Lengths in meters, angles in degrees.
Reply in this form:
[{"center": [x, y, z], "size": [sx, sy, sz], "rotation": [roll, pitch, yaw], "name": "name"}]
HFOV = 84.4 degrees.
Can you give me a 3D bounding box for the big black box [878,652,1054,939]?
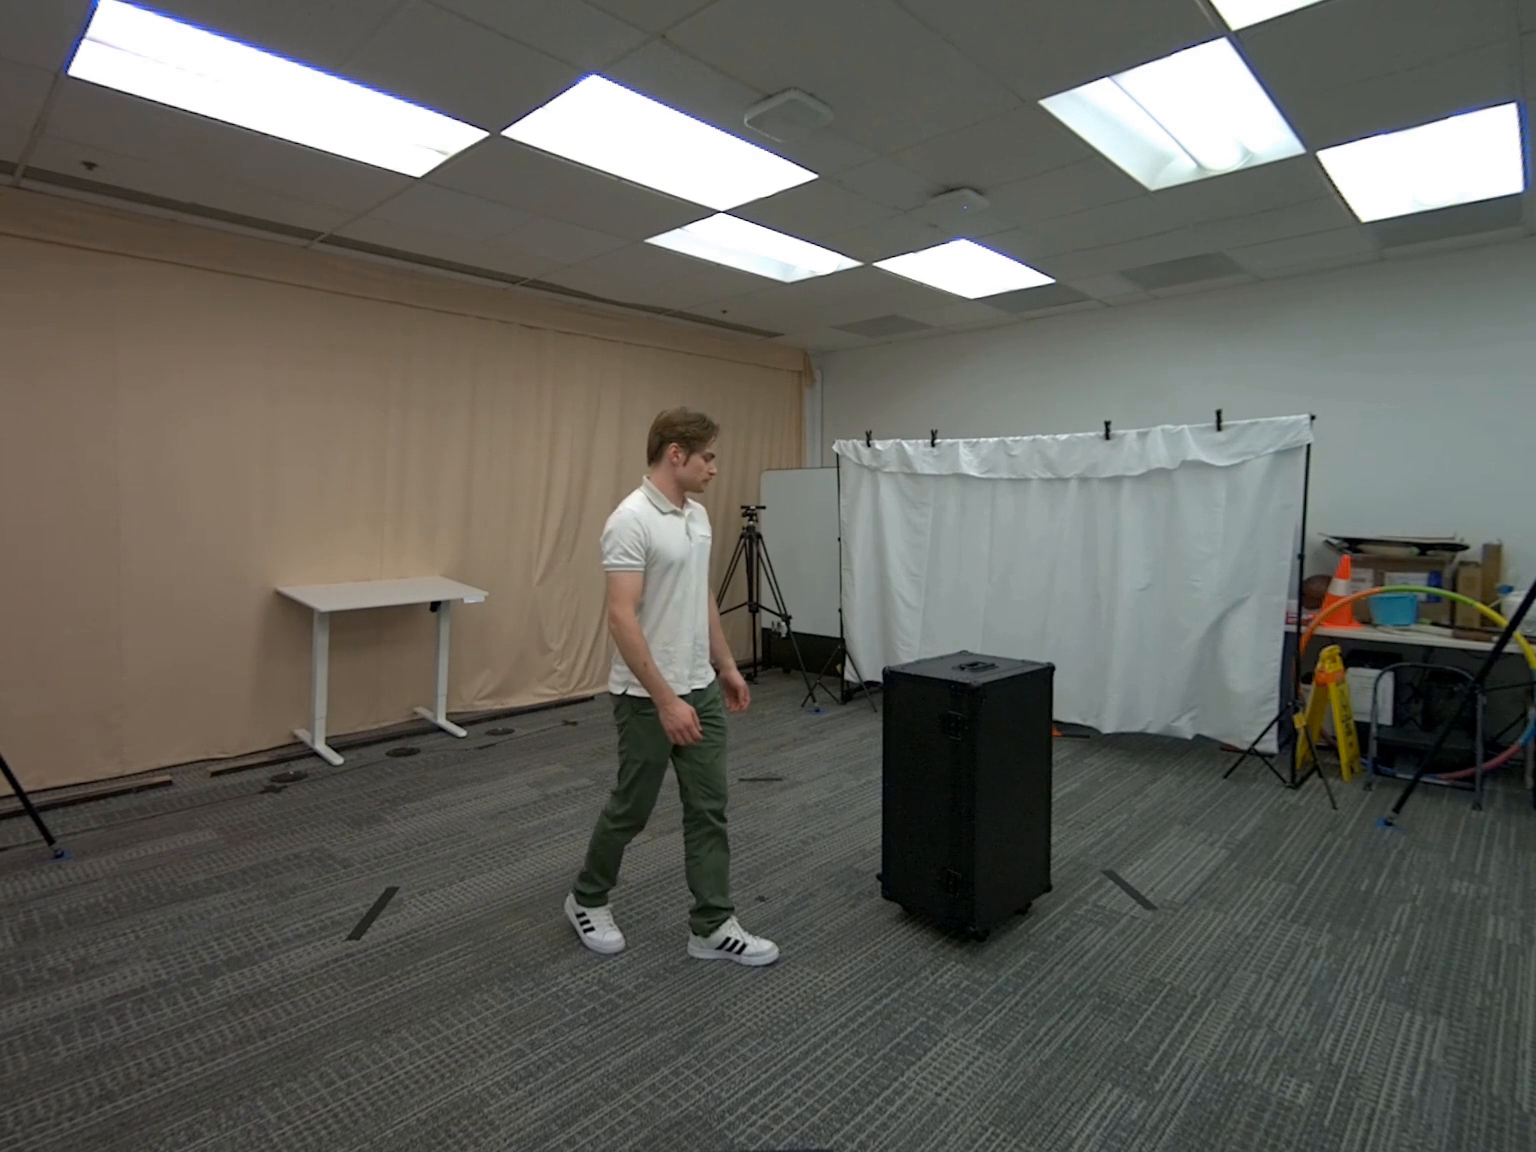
[{"center": [0.676, 0.736, 2.843], "size": [0.507, 0.867, 0.398], "rotation": [-3, 4, -44], "name": "big black box"}]
